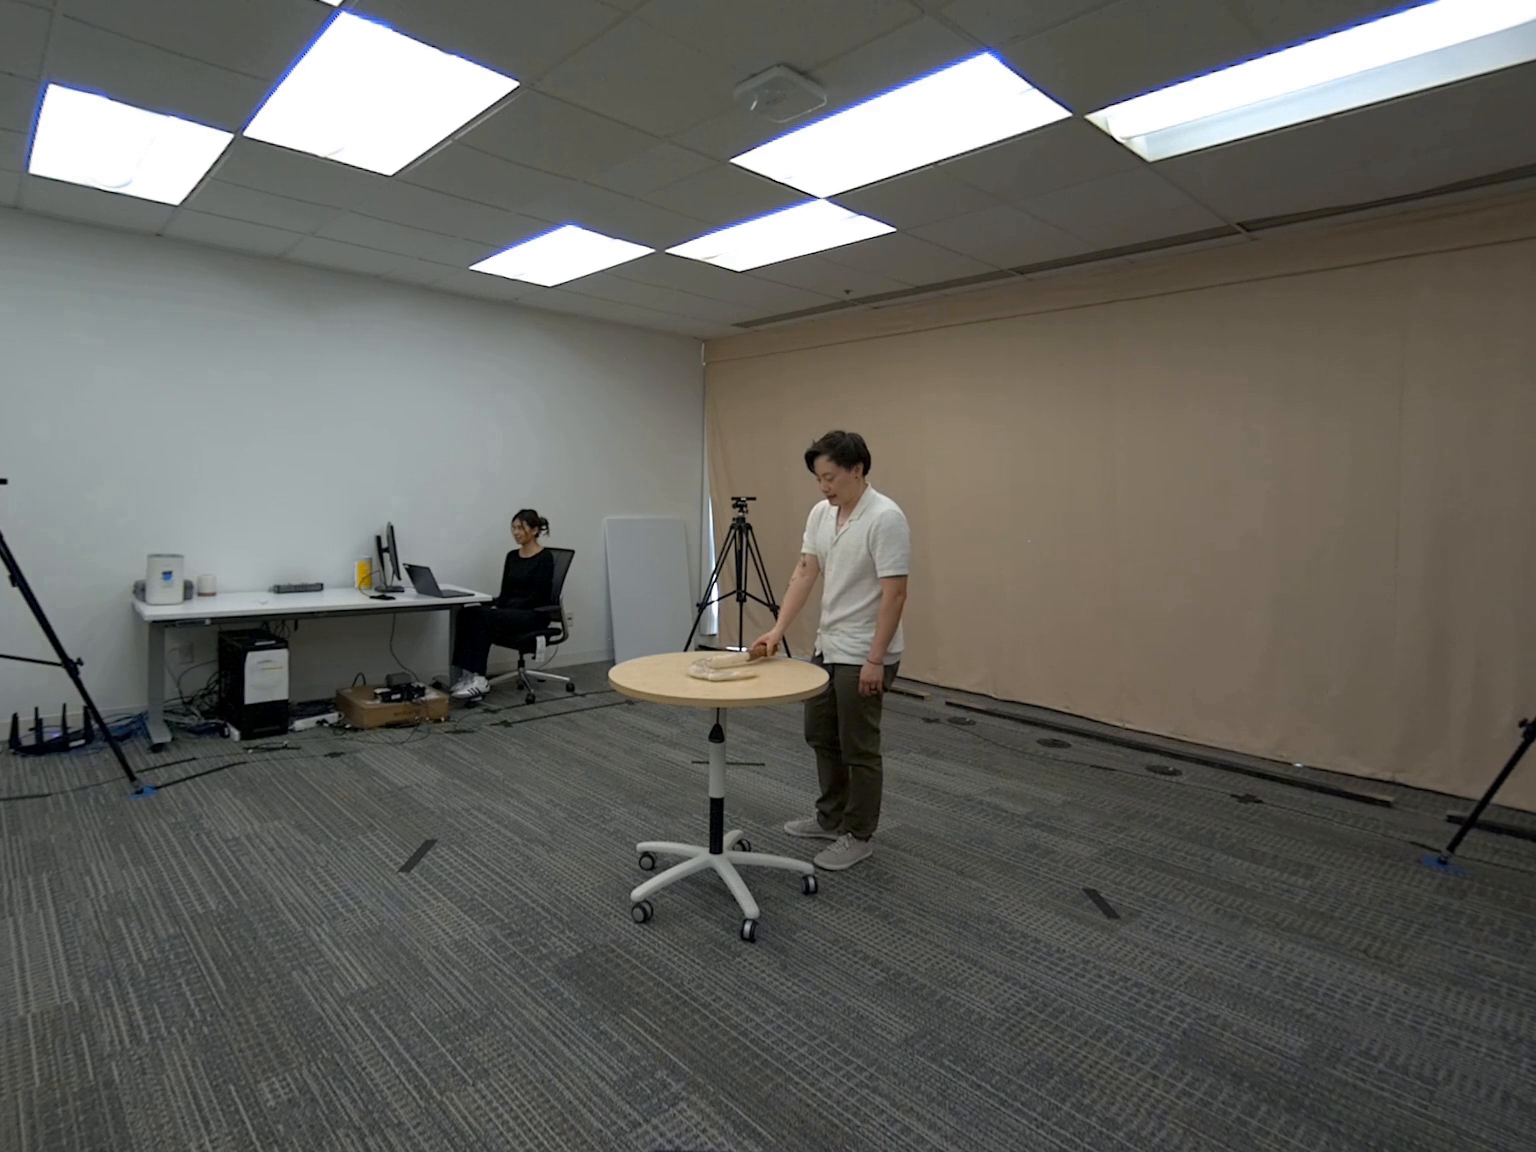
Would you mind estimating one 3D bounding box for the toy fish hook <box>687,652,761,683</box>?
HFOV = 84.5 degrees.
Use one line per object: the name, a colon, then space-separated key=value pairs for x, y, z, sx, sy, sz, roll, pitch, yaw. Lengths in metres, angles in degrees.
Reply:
toy fish hook: x=-0.082 y=0.315 z=2.996 sx=0.231 sy=0.048 sz=0.497 roll=13 pitch=15 yaw=35
